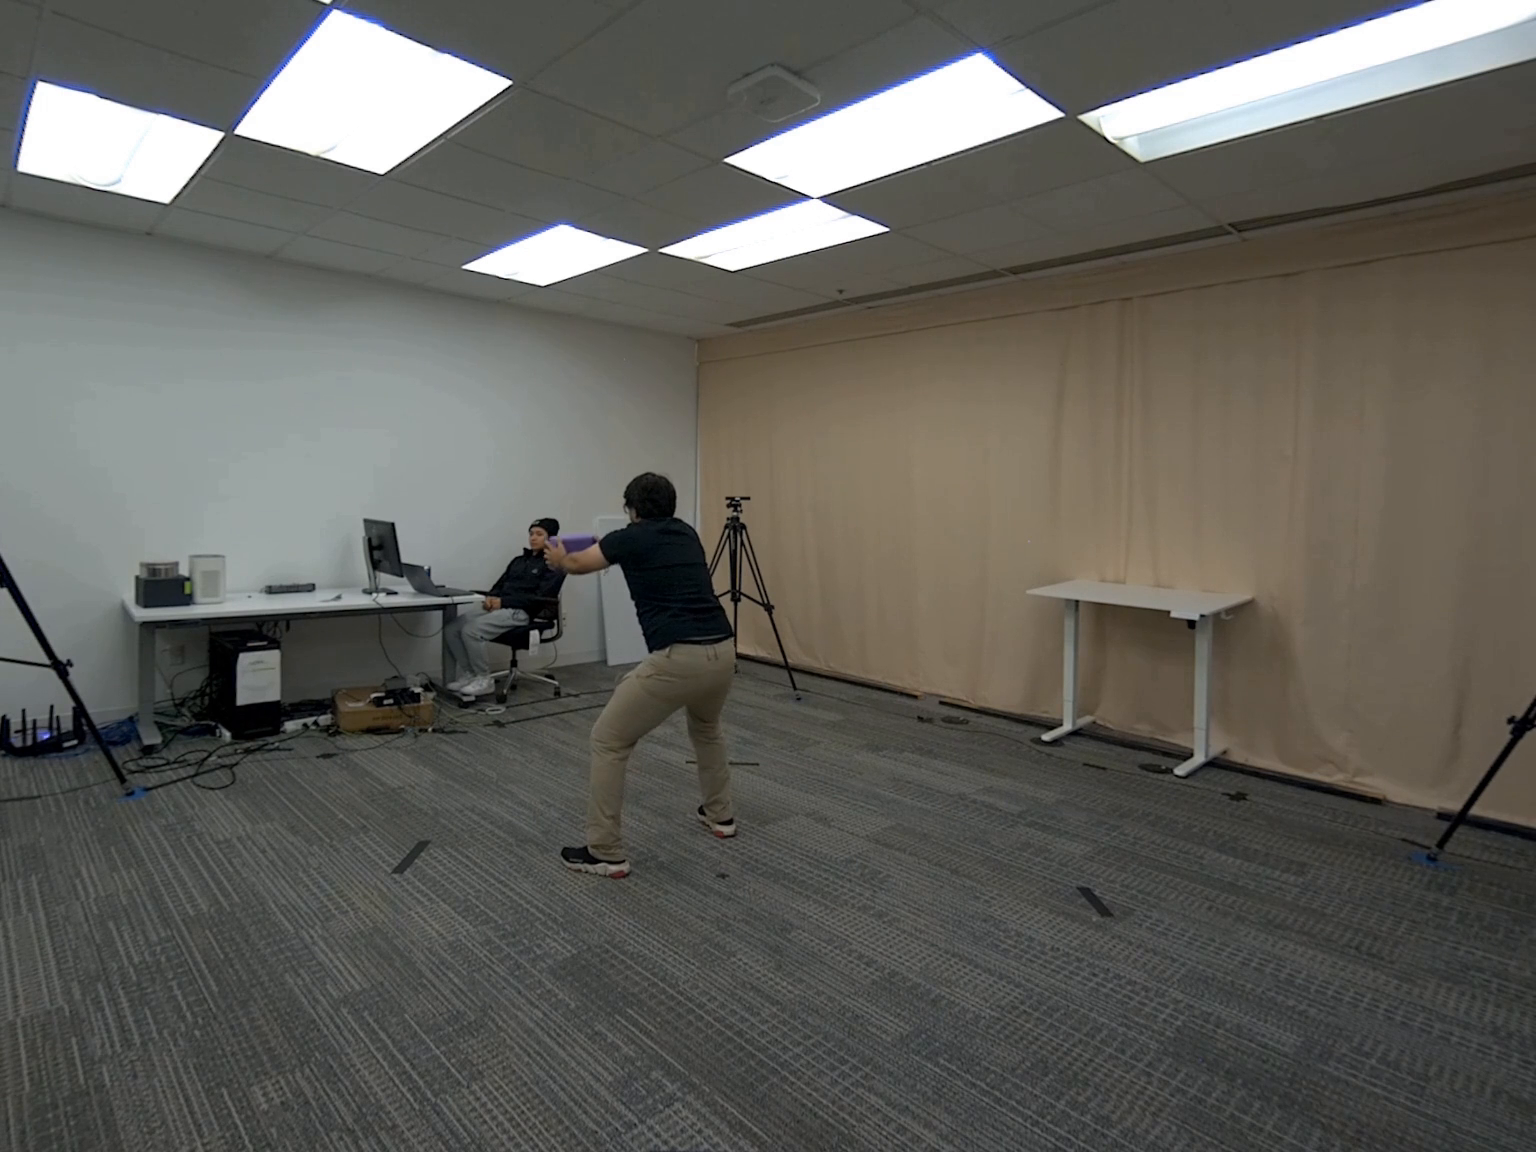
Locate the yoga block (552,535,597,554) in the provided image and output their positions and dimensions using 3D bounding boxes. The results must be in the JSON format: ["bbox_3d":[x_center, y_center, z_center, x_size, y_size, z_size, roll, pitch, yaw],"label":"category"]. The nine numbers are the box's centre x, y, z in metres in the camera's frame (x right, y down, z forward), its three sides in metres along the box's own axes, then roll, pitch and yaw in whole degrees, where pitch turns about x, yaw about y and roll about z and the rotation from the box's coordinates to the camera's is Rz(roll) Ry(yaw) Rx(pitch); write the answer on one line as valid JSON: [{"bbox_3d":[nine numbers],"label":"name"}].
[{"bbox_3d":[-0.880,-0.104,3.827,0.078,0.148,0.225,14,16,41],"label":"yoga block"}]
